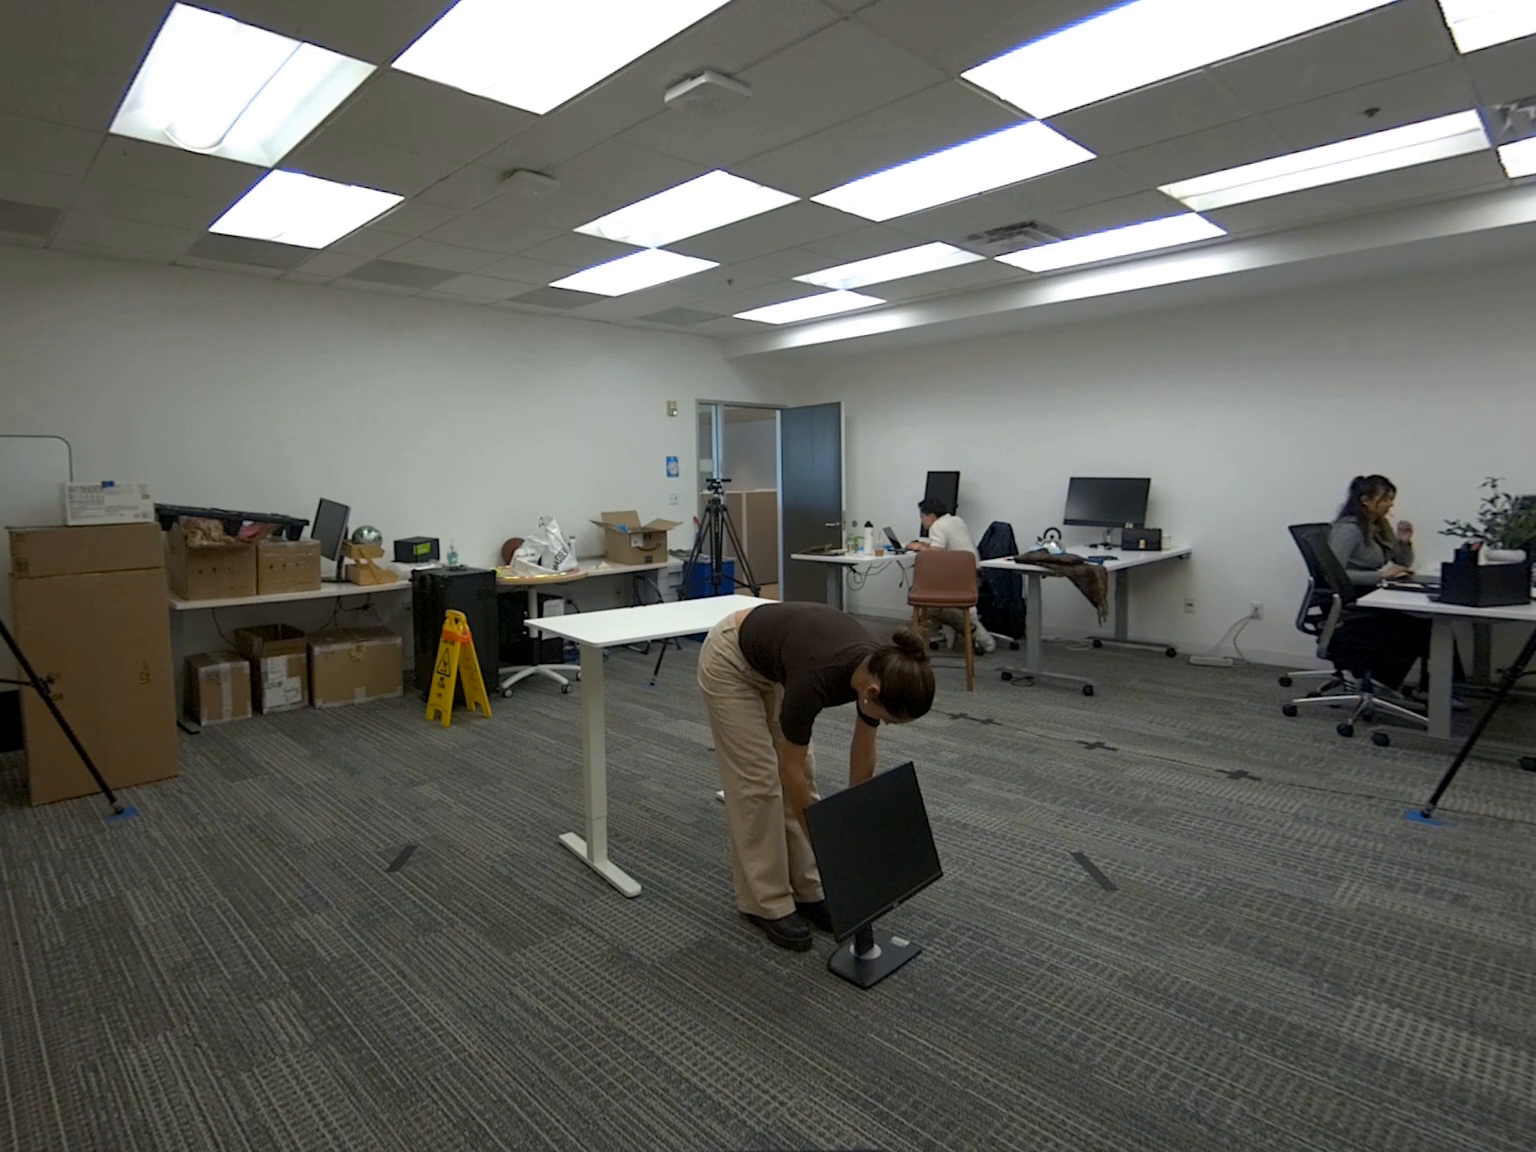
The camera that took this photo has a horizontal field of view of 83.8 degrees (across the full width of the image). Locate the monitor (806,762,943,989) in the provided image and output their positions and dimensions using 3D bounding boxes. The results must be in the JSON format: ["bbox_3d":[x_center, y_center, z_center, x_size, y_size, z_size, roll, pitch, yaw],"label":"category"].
[{"bbox_3d":[0.289,0.858,2.470,0.192,0.522,0.525,-1,3,40],"label":"monitor"}]
